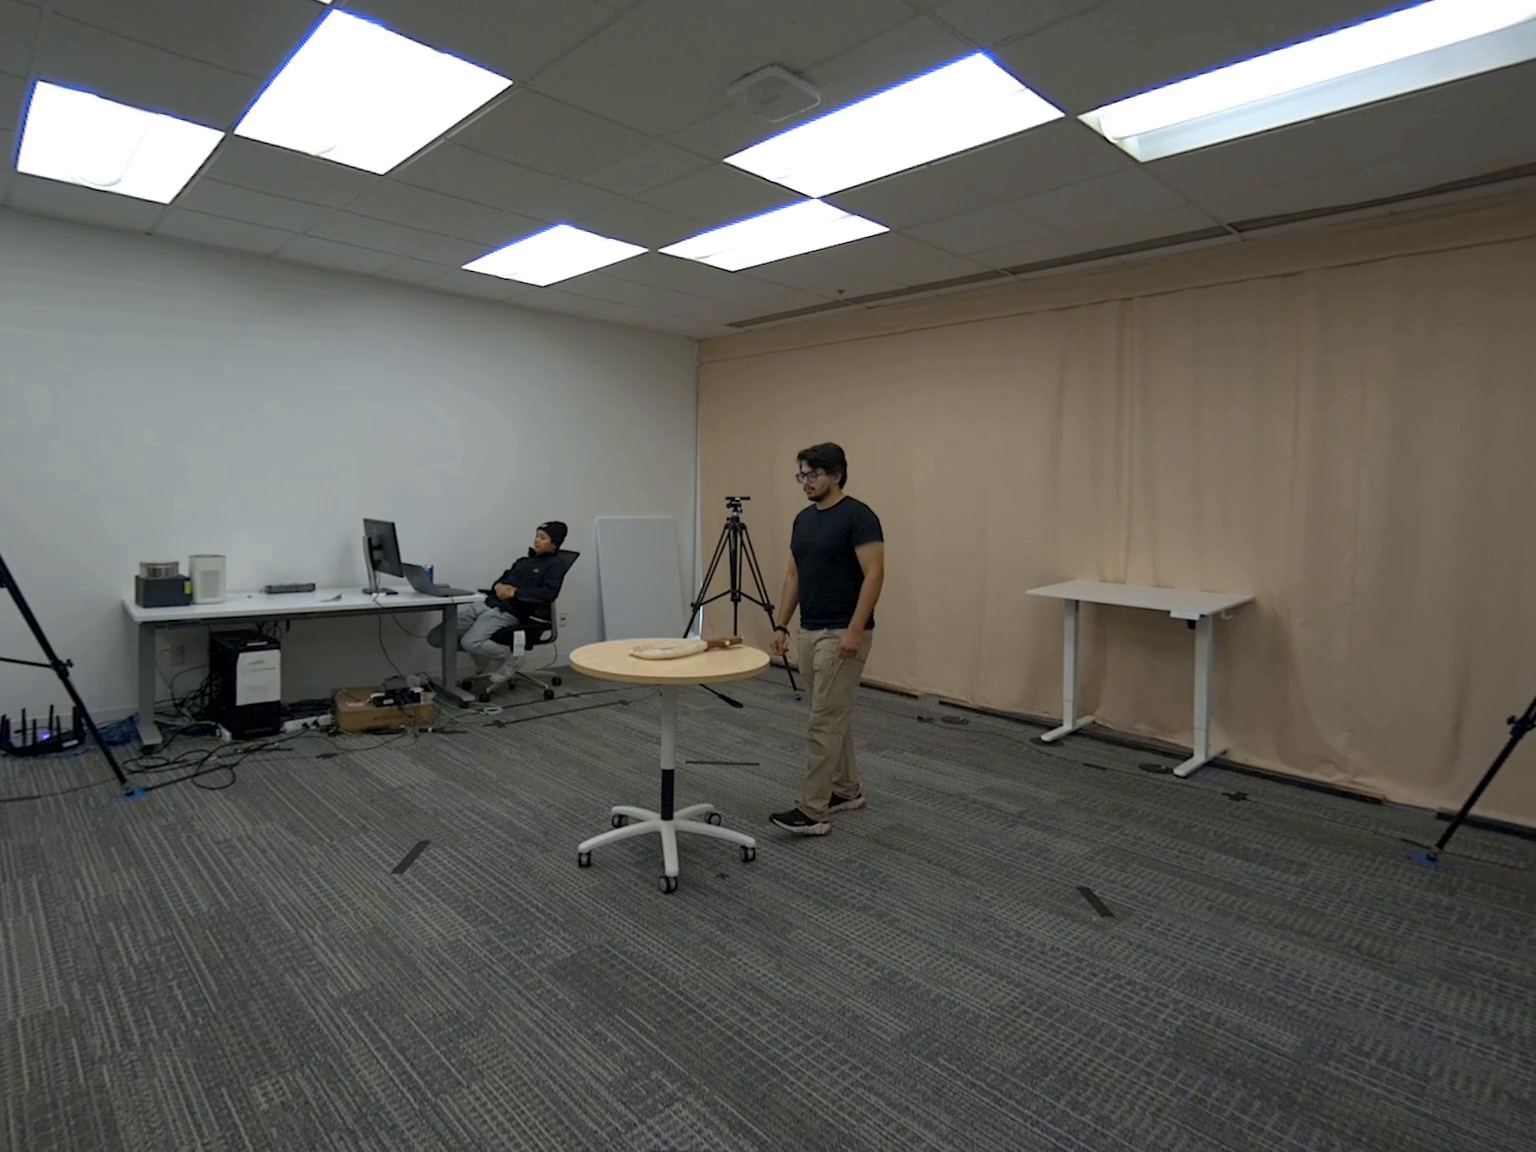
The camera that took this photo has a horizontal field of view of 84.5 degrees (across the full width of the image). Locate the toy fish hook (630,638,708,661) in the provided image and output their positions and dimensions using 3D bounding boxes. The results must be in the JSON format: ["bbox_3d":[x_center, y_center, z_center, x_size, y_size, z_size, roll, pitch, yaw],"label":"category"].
[{"bbox_3d":[-0.332,0.277,3.340,0.495,0.048,0.230,-4,9,-44],"label":"toy fish hook"}]
